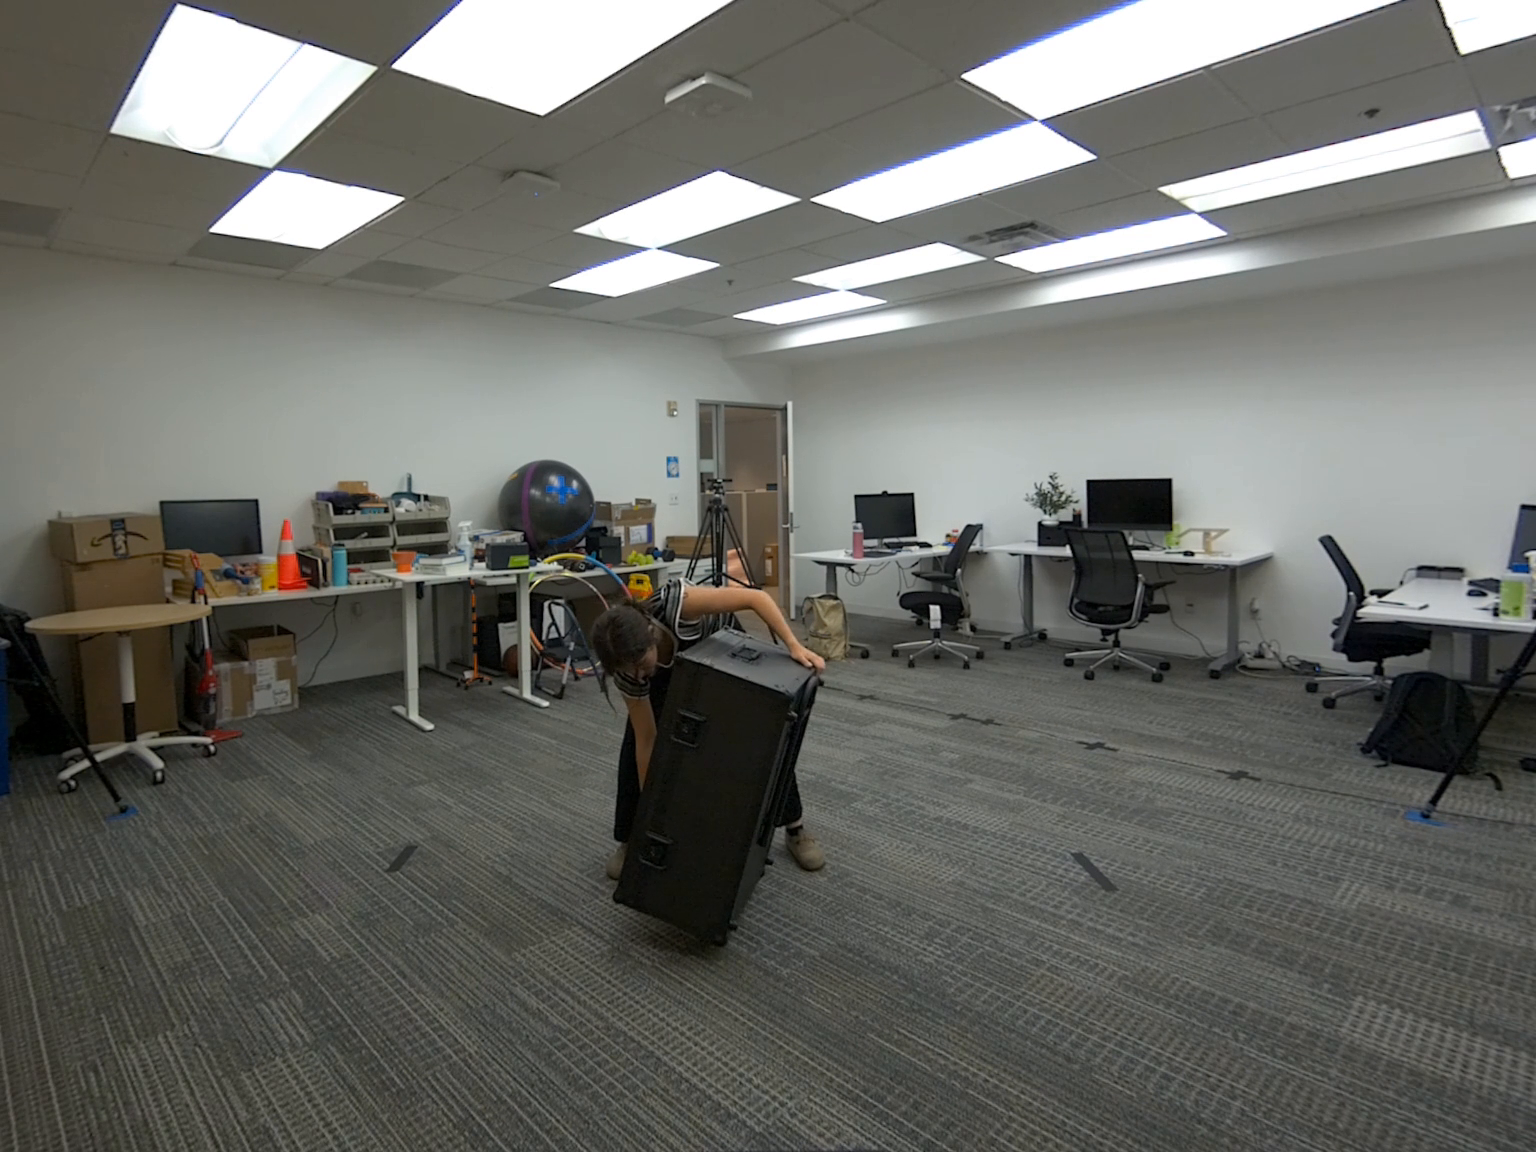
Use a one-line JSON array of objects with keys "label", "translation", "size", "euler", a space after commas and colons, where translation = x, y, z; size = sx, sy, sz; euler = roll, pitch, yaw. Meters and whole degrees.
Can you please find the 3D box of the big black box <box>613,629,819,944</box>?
[{"label": "big black box", "translation": [-0.140, 0.649, 2.685], "size": [0.402, 0.857, 0.517], "euler": [14, 8, 11]}]
